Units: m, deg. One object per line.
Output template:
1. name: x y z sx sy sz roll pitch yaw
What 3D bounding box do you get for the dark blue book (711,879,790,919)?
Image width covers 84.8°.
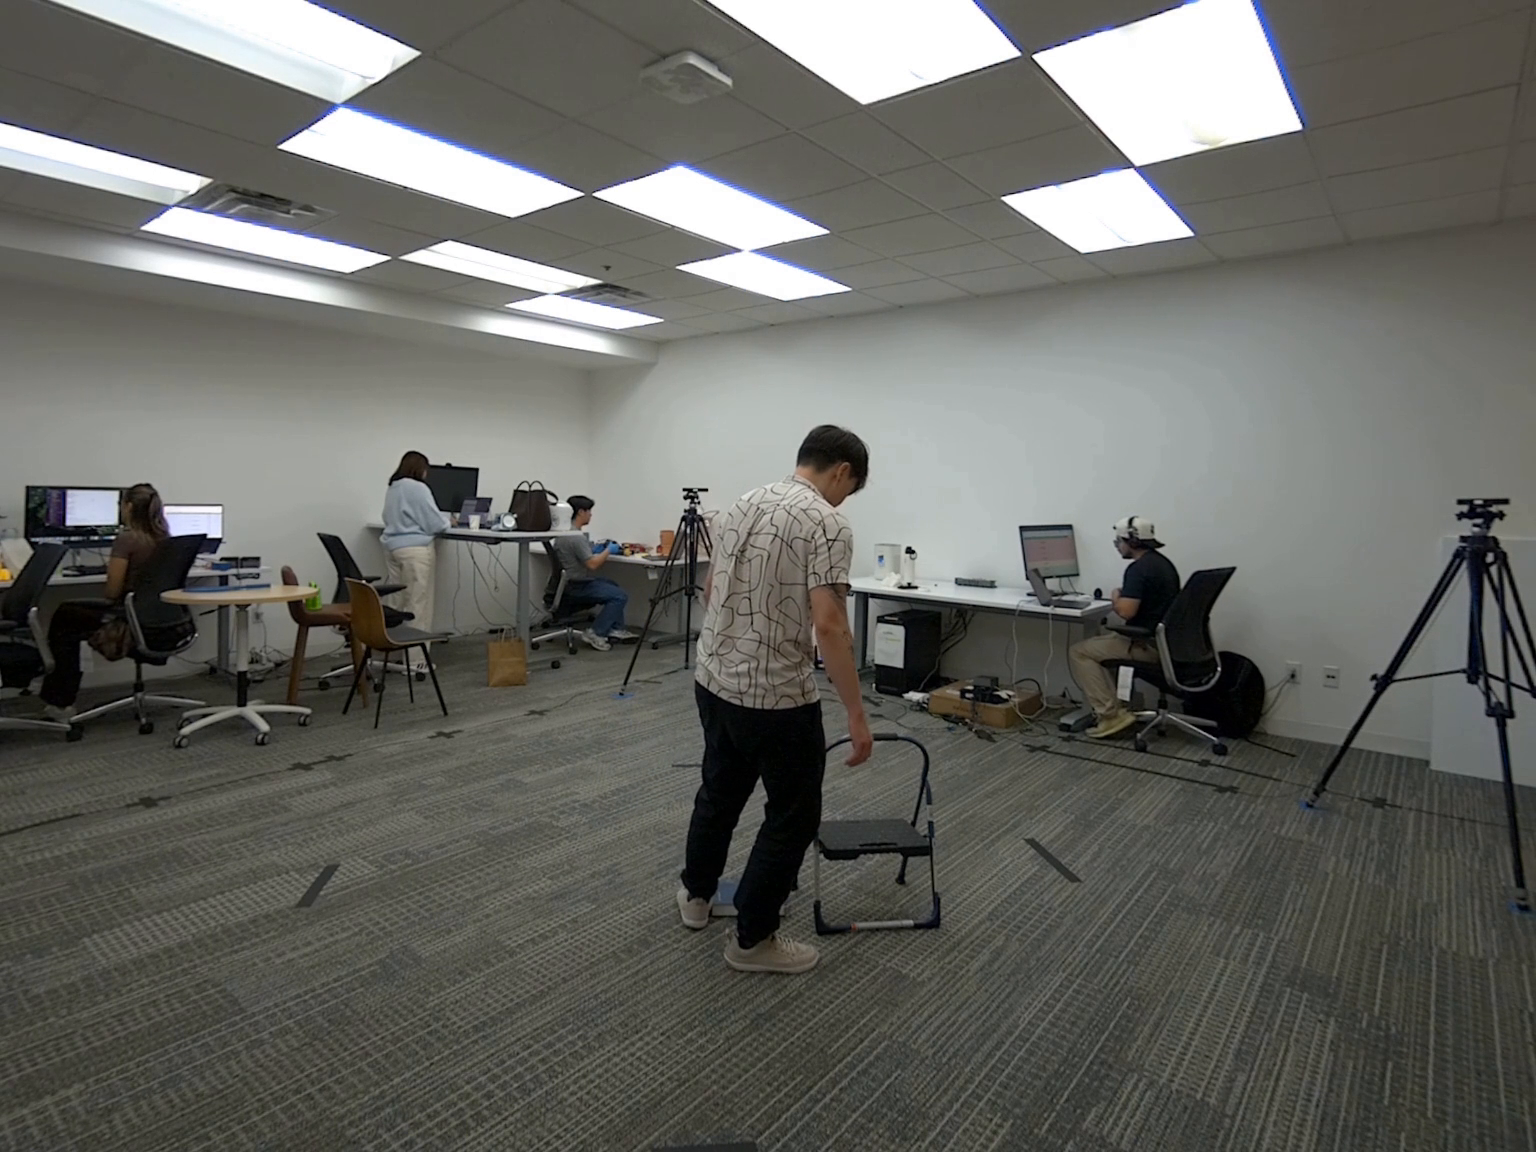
1. dark blue book: -0.078 1.084 2.835 0.244 0.045 0.165 0 5 -4
